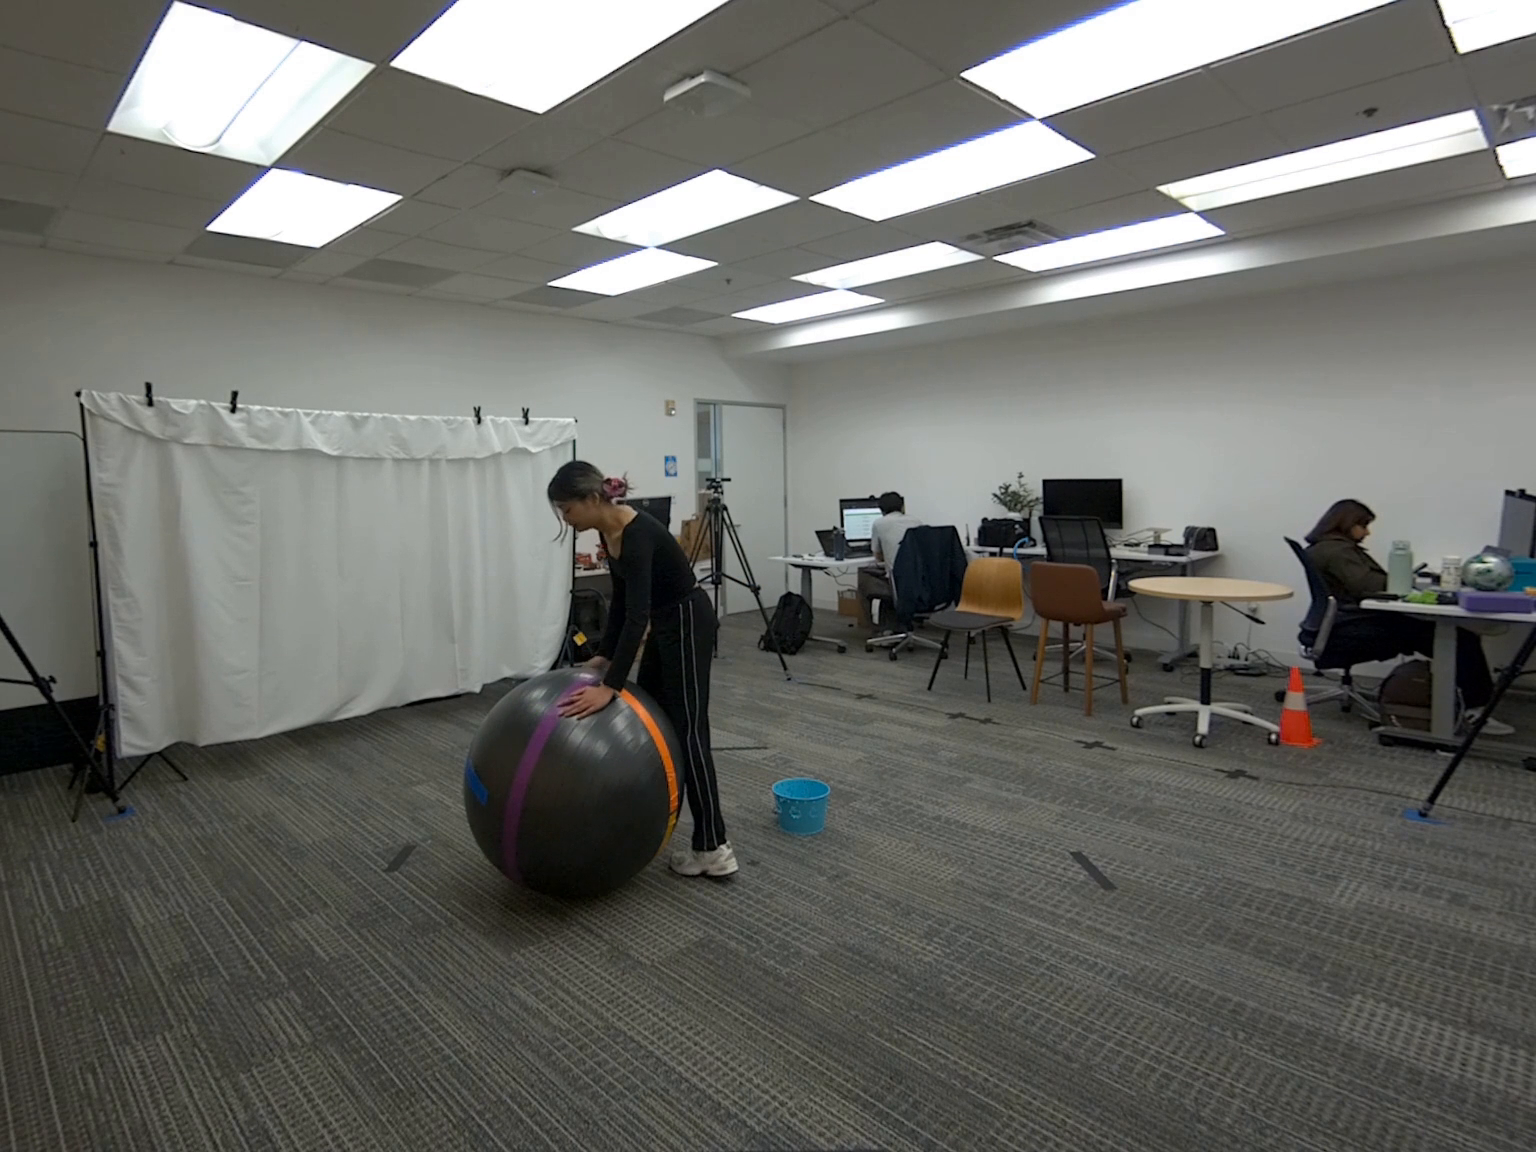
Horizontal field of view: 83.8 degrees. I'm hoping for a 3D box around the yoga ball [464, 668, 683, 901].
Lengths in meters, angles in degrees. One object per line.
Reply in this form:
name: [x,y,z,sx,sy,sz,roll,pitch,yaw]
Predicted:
yoga ball: [-0.667,0.703,2.957,0.757,0.755,0.762,-1,5,-2]
